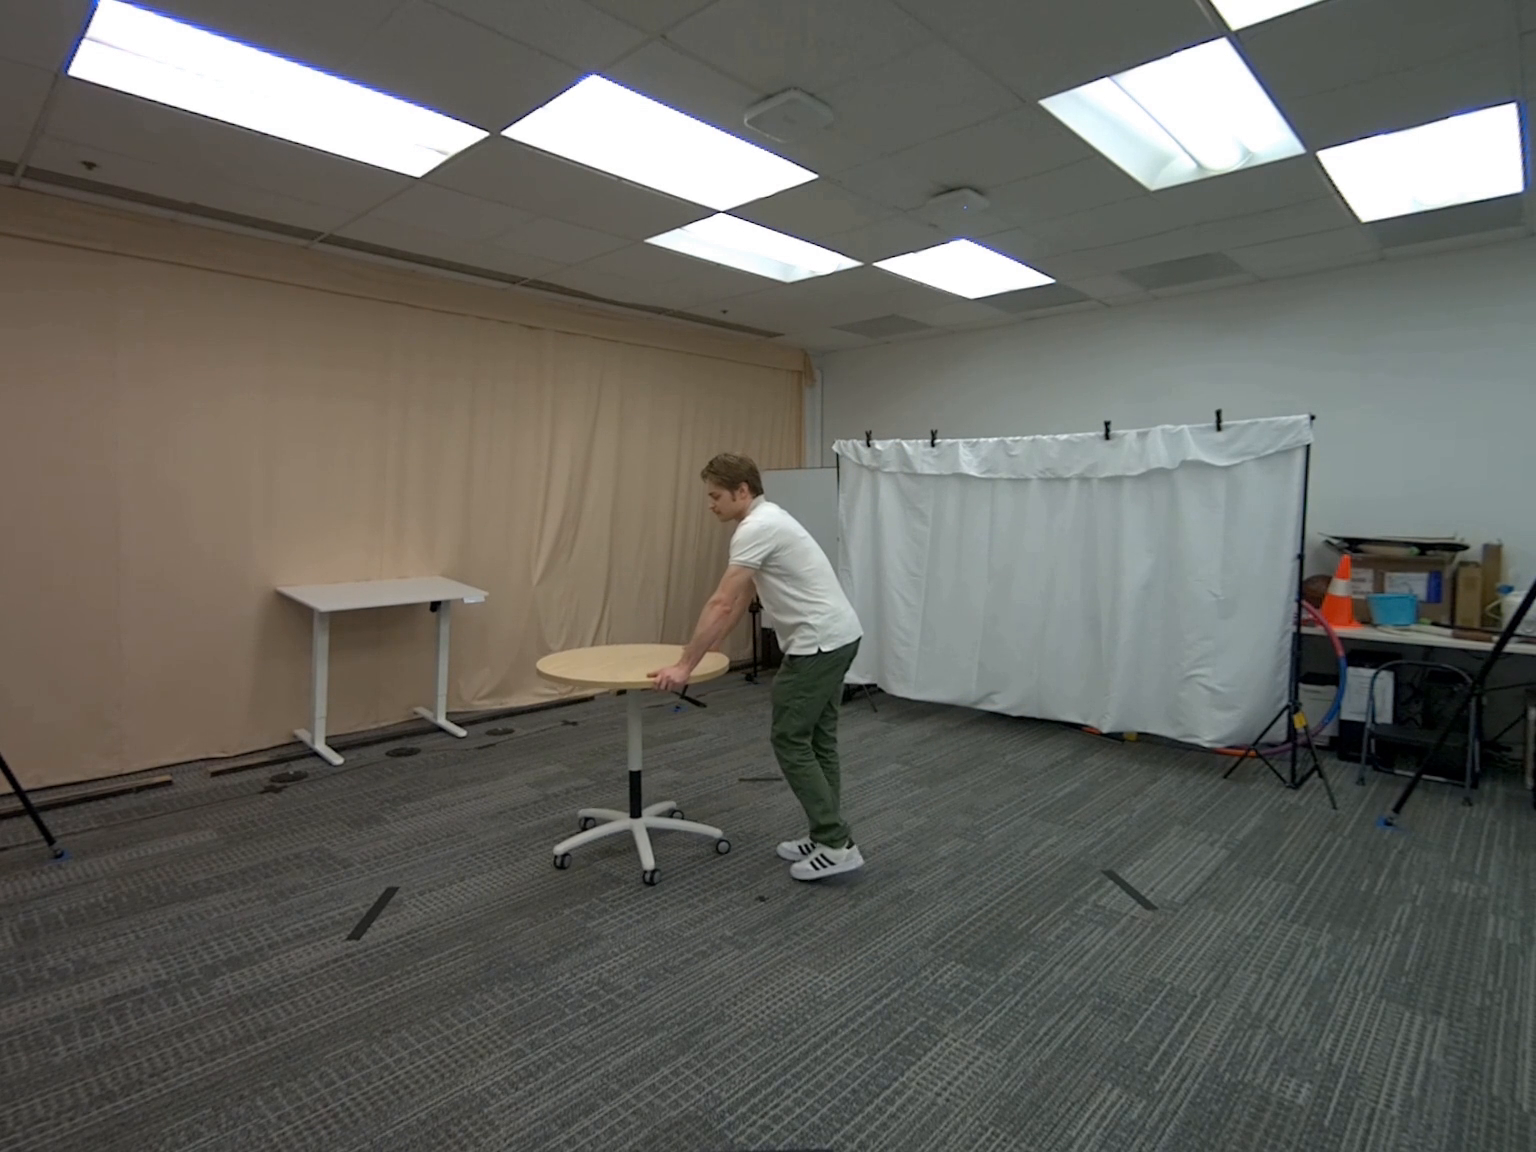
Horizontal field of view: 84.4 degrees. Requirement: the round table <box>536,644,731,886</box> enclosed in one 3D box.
[{"bbox_3d":[-0.535,0.731,3.396,0.763,0.792,0.767,0,4,-2],"label":"round table"}]
